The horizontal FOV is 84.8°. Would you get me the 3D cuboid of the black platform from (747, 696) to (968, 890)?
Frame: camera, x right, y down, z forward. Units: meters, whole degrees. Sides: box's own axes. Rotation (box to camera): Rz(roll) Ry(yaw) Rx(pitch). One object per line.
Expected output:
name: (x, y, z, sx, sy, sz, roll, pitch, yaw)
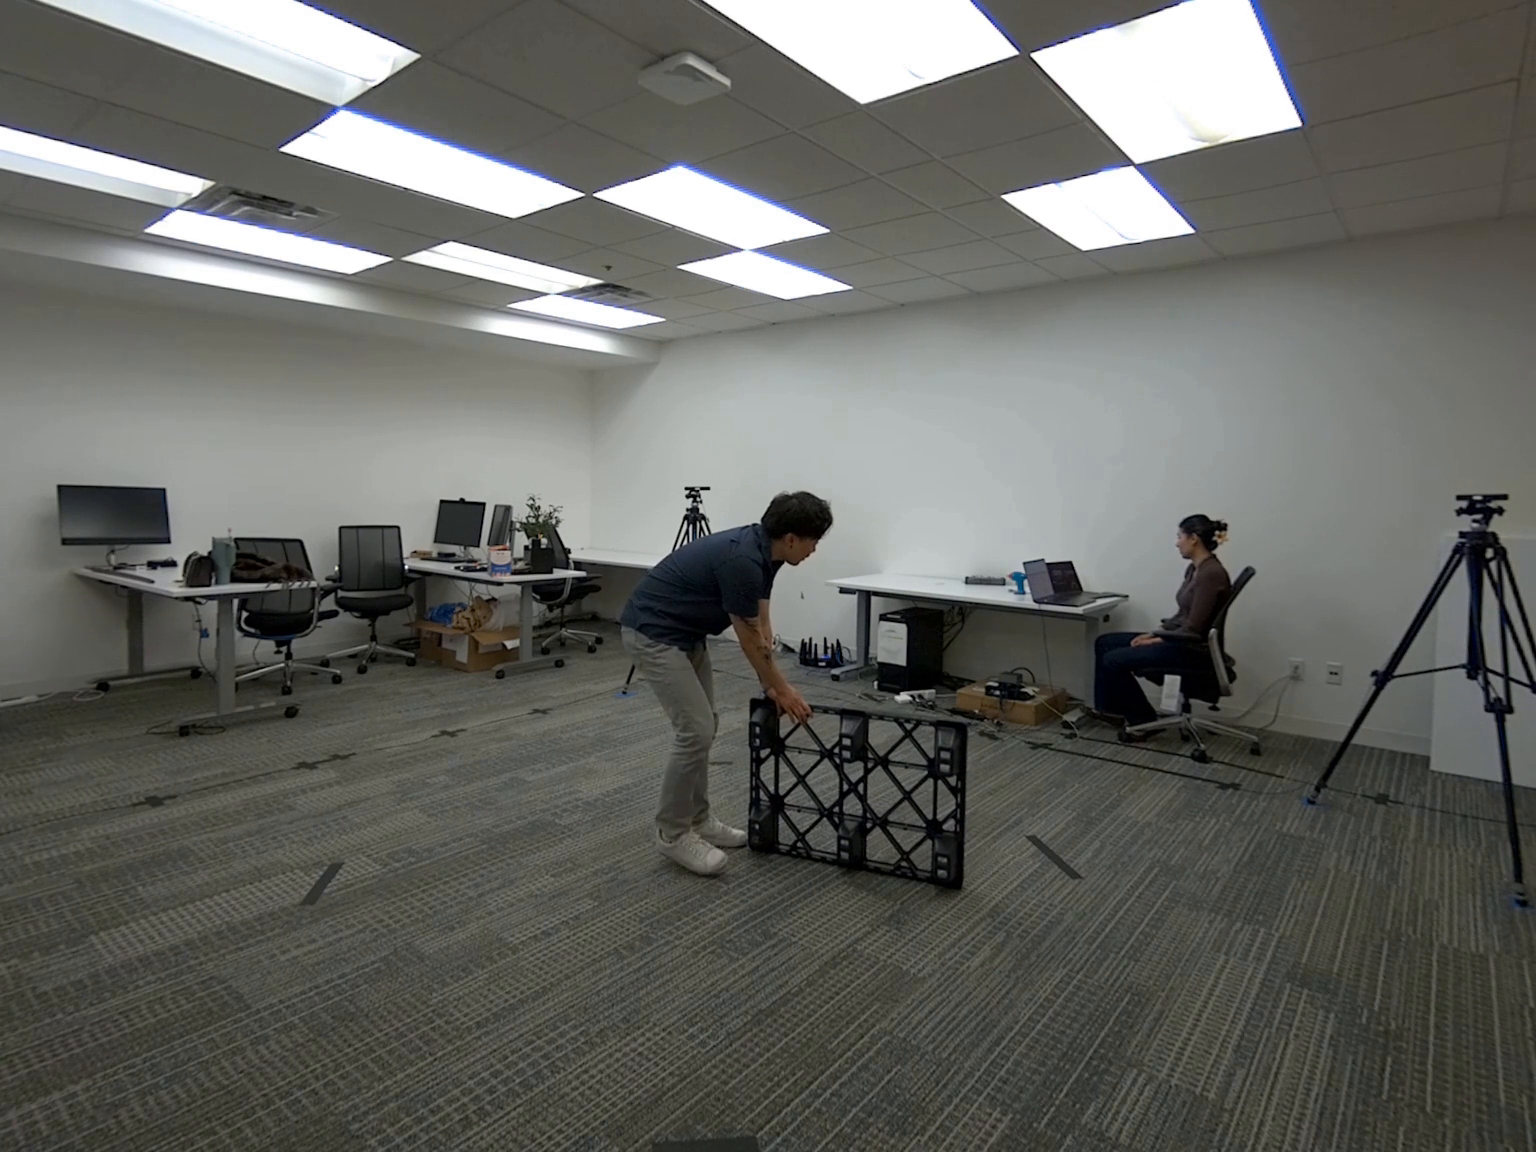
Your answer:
black platform: (0.296, 0.777, 3.076, 0.824, 0.602, 0.141, 3, 5, 21)
